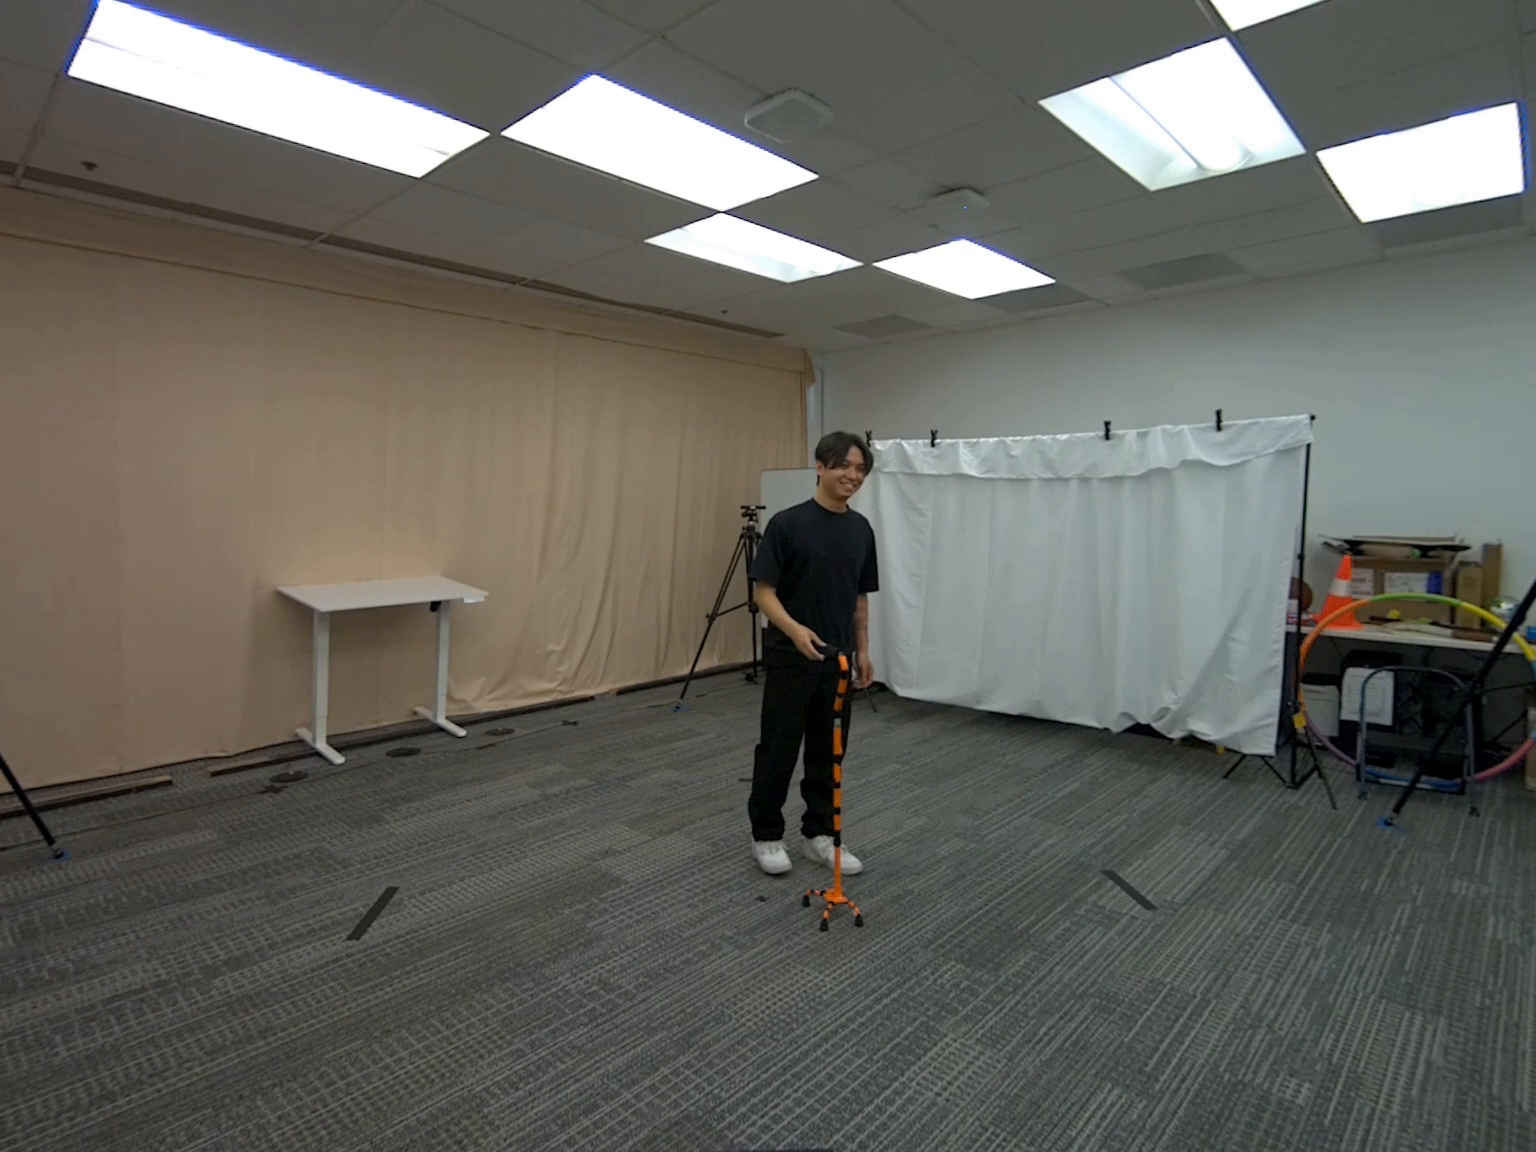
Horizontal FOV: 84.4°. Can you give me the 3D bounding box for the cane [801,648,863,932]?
[{"bbox_3d":[0.217,0.695,2.847,0.149,0.906,0.211,-1,3,-19],"label":"cane"}]
